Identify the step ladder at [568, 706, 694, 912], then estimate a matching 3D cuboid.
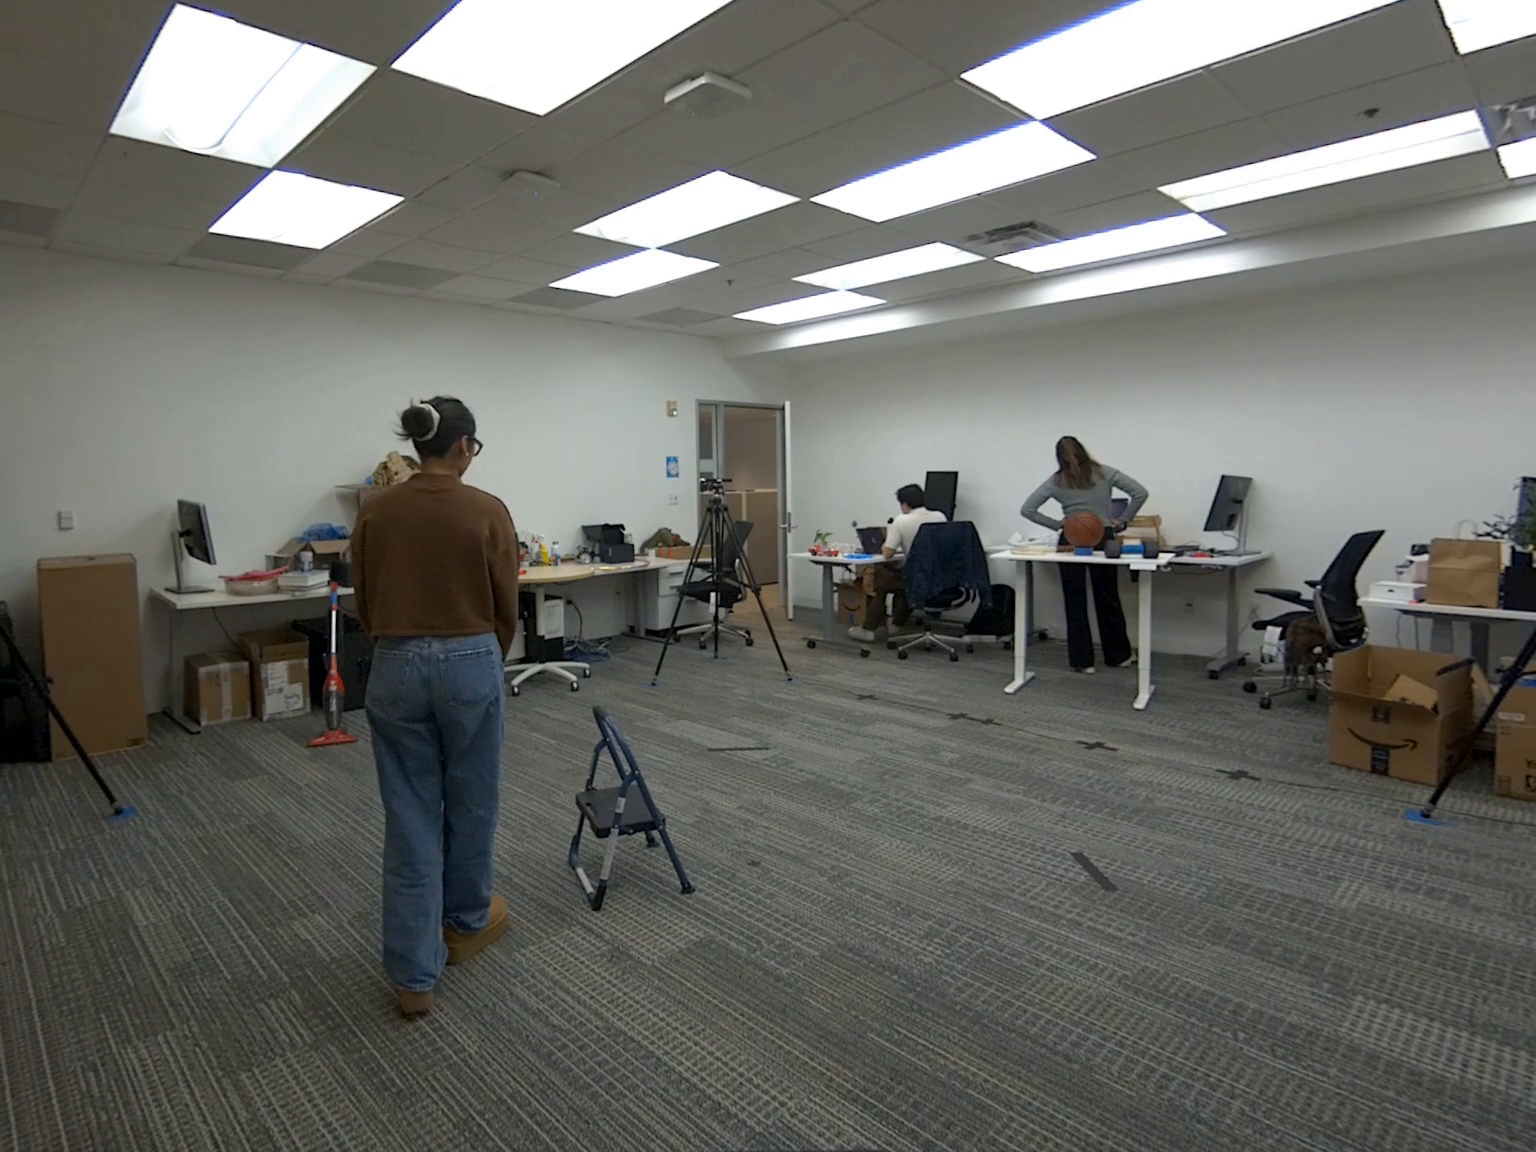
[{"bbox_3d":[-0.497,0.760,3.010,0.342,0.604,0.441,-3,5,-25],"label":"step ladder"}]
